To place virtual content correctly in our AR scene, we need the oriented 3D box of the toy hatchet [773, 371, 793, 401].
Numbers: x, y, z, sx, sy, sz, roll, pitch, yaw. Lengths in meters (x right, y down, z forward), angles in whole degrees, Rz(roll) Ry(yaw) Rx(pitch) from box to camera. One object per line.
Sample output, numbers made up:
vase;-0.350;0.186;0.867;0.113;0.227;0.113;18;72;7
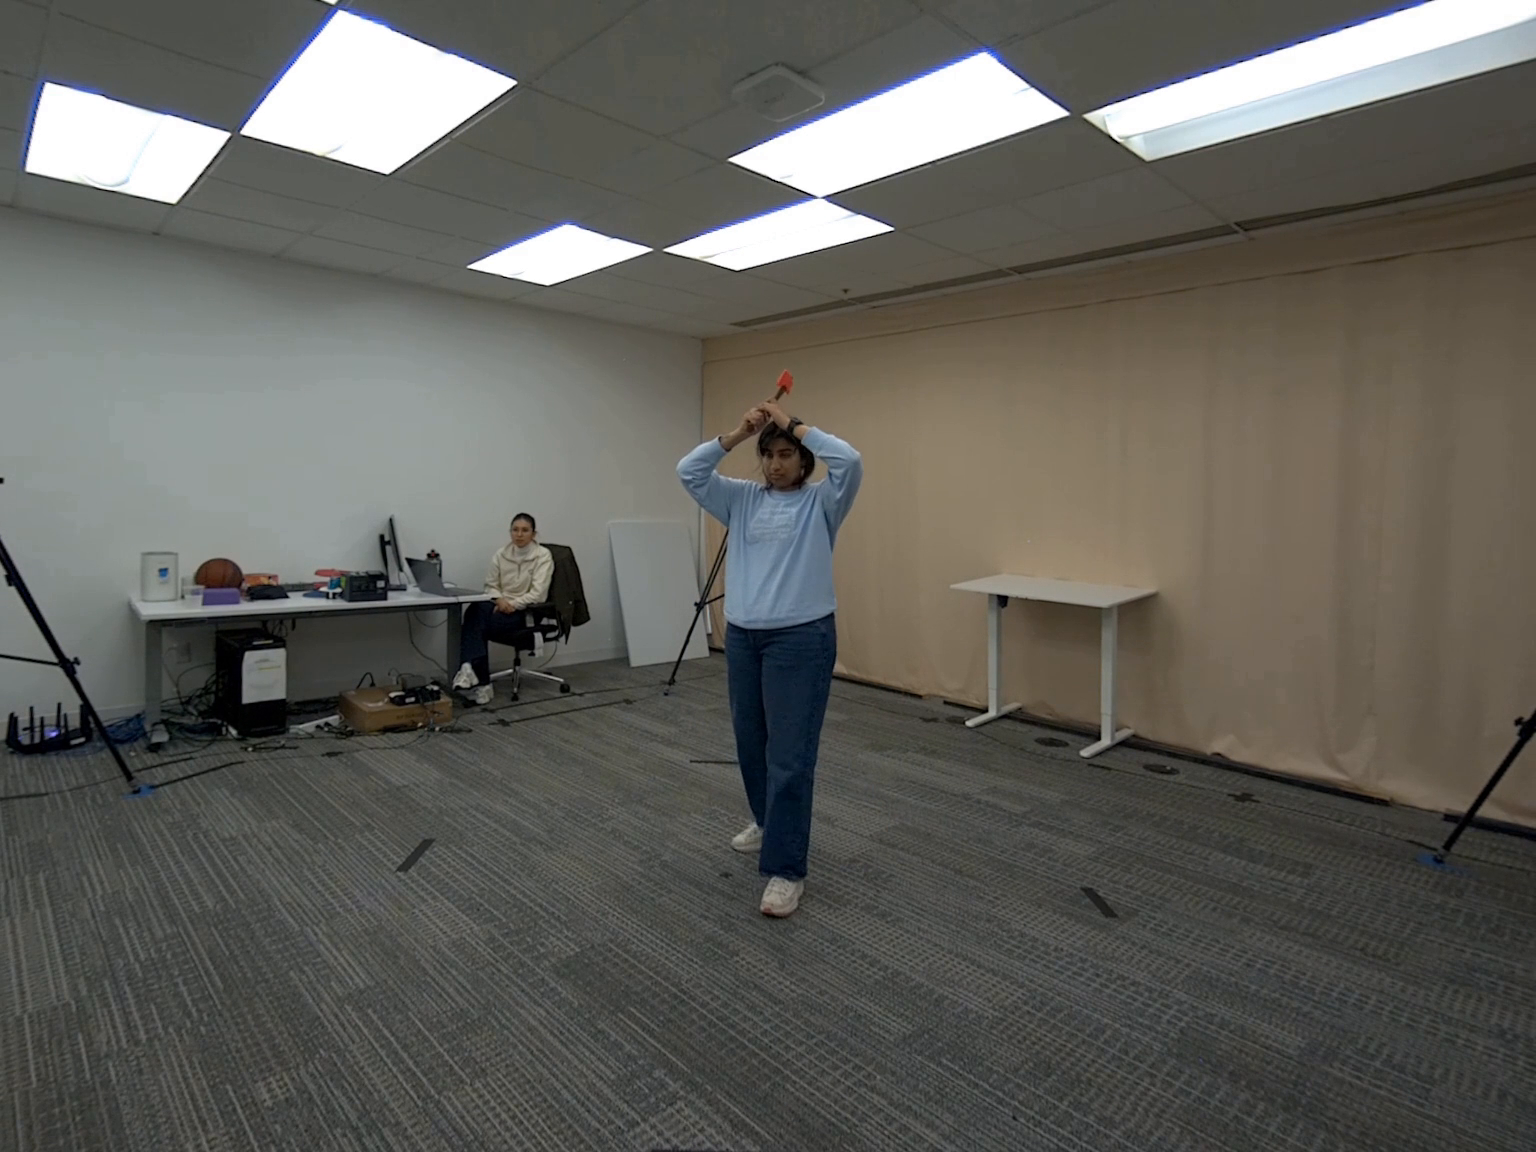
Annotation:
toy hatchet;0.009;-0.612;2.885;0.030;0.129;0.270;28;54;14
